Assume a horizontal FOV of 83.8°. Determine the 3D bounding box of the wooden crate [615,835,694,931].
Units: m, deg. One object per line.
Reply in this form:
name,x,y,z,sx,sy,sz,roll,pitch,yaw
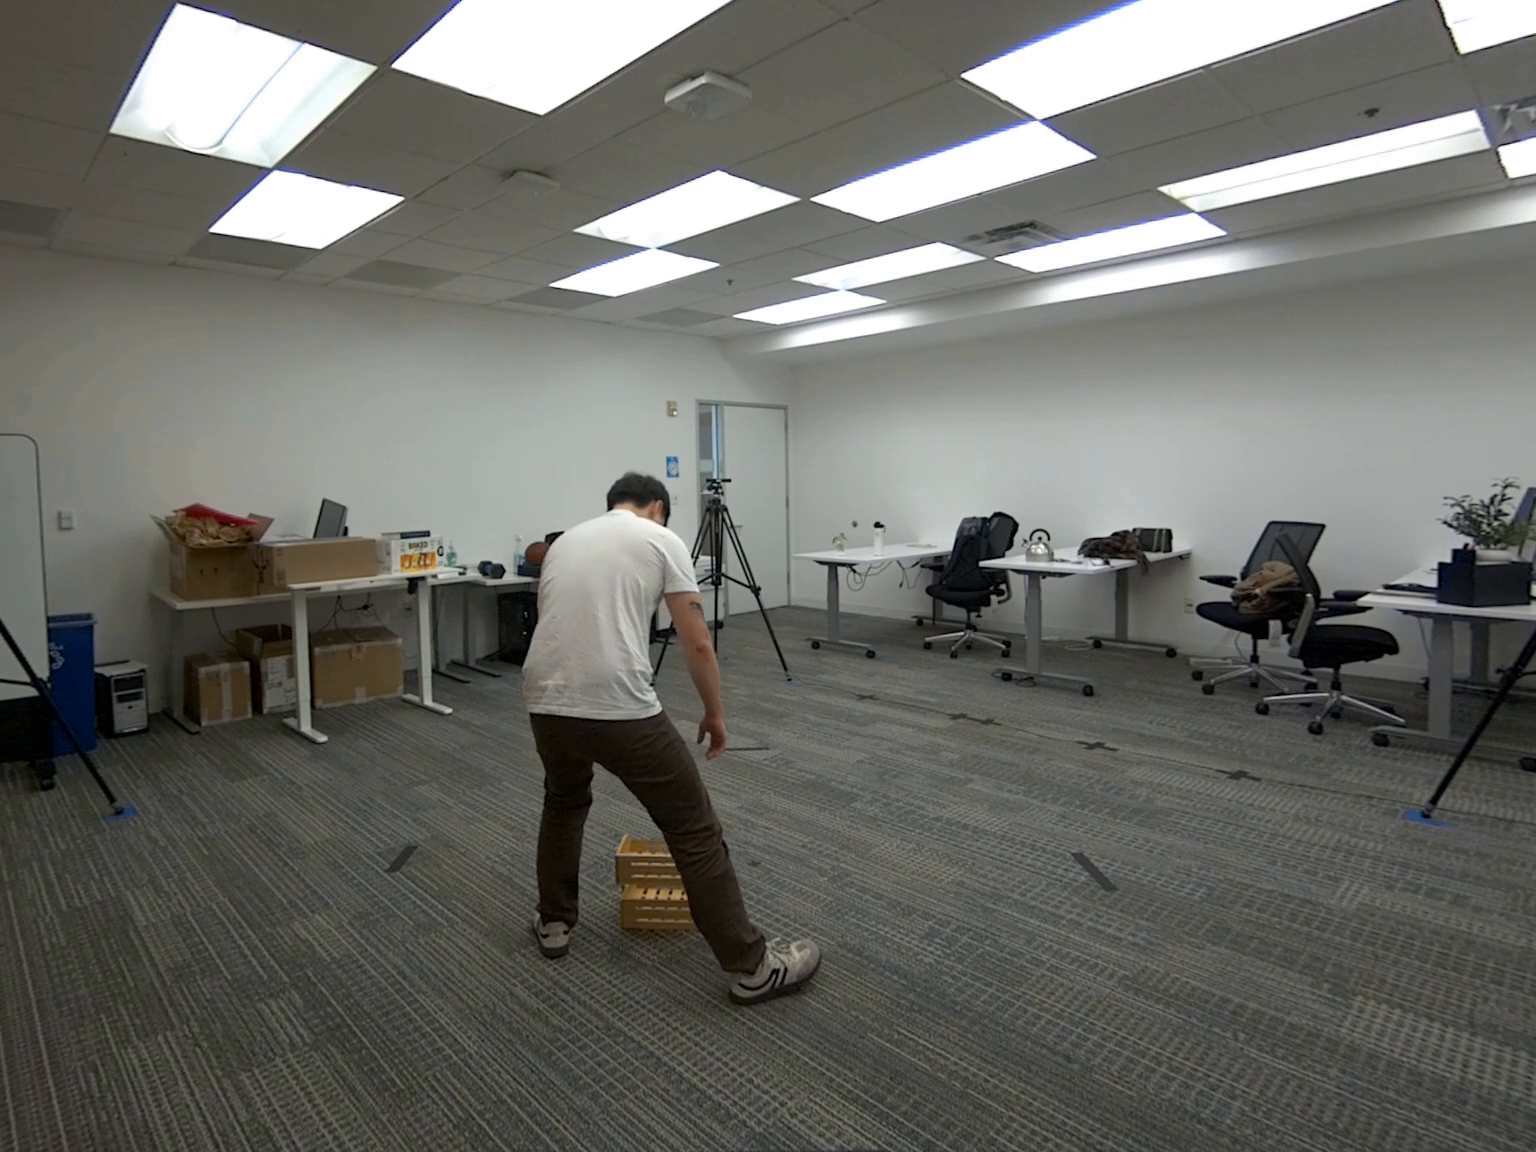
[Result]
wooden crate,-0.312,0.956,2.754,0.325,0.272,0.303,0,7,3
